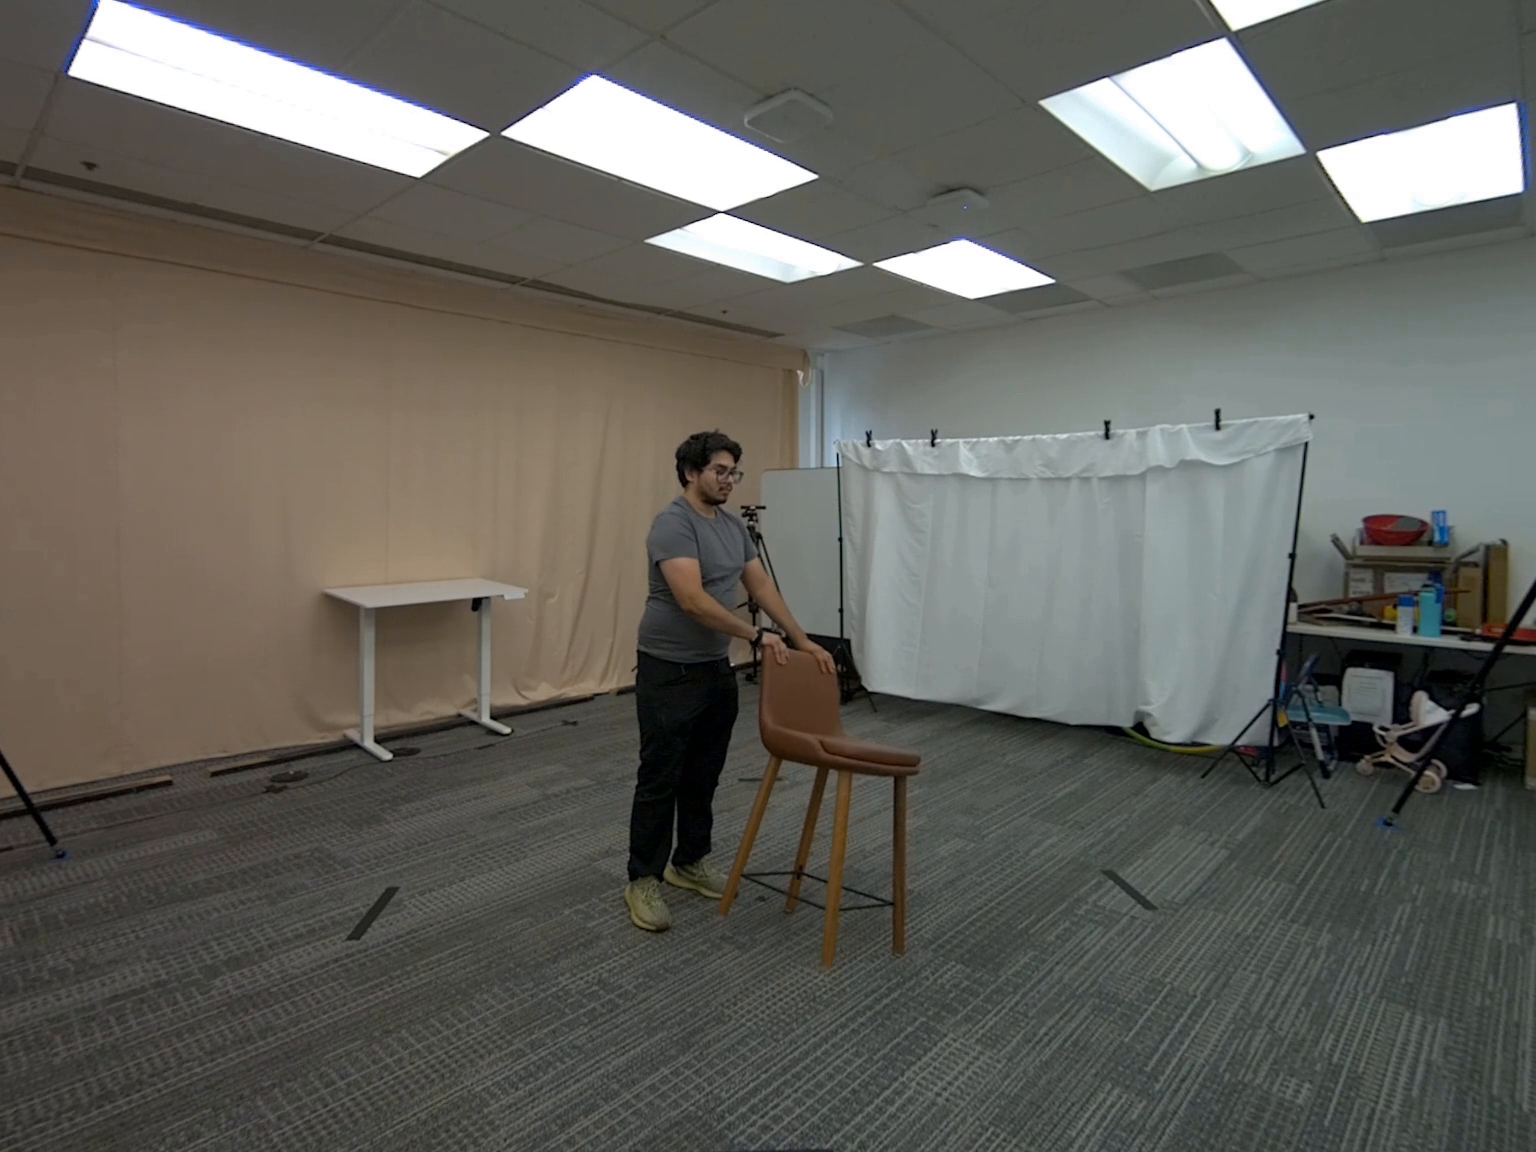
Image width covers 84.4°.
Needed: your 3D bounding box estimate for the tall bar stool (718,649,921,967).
[{"bbox_3d":[0.197,0.698,2.697,0.482,0.894,0.440,-1,-13,43],"label":"tall bar stool"}]
